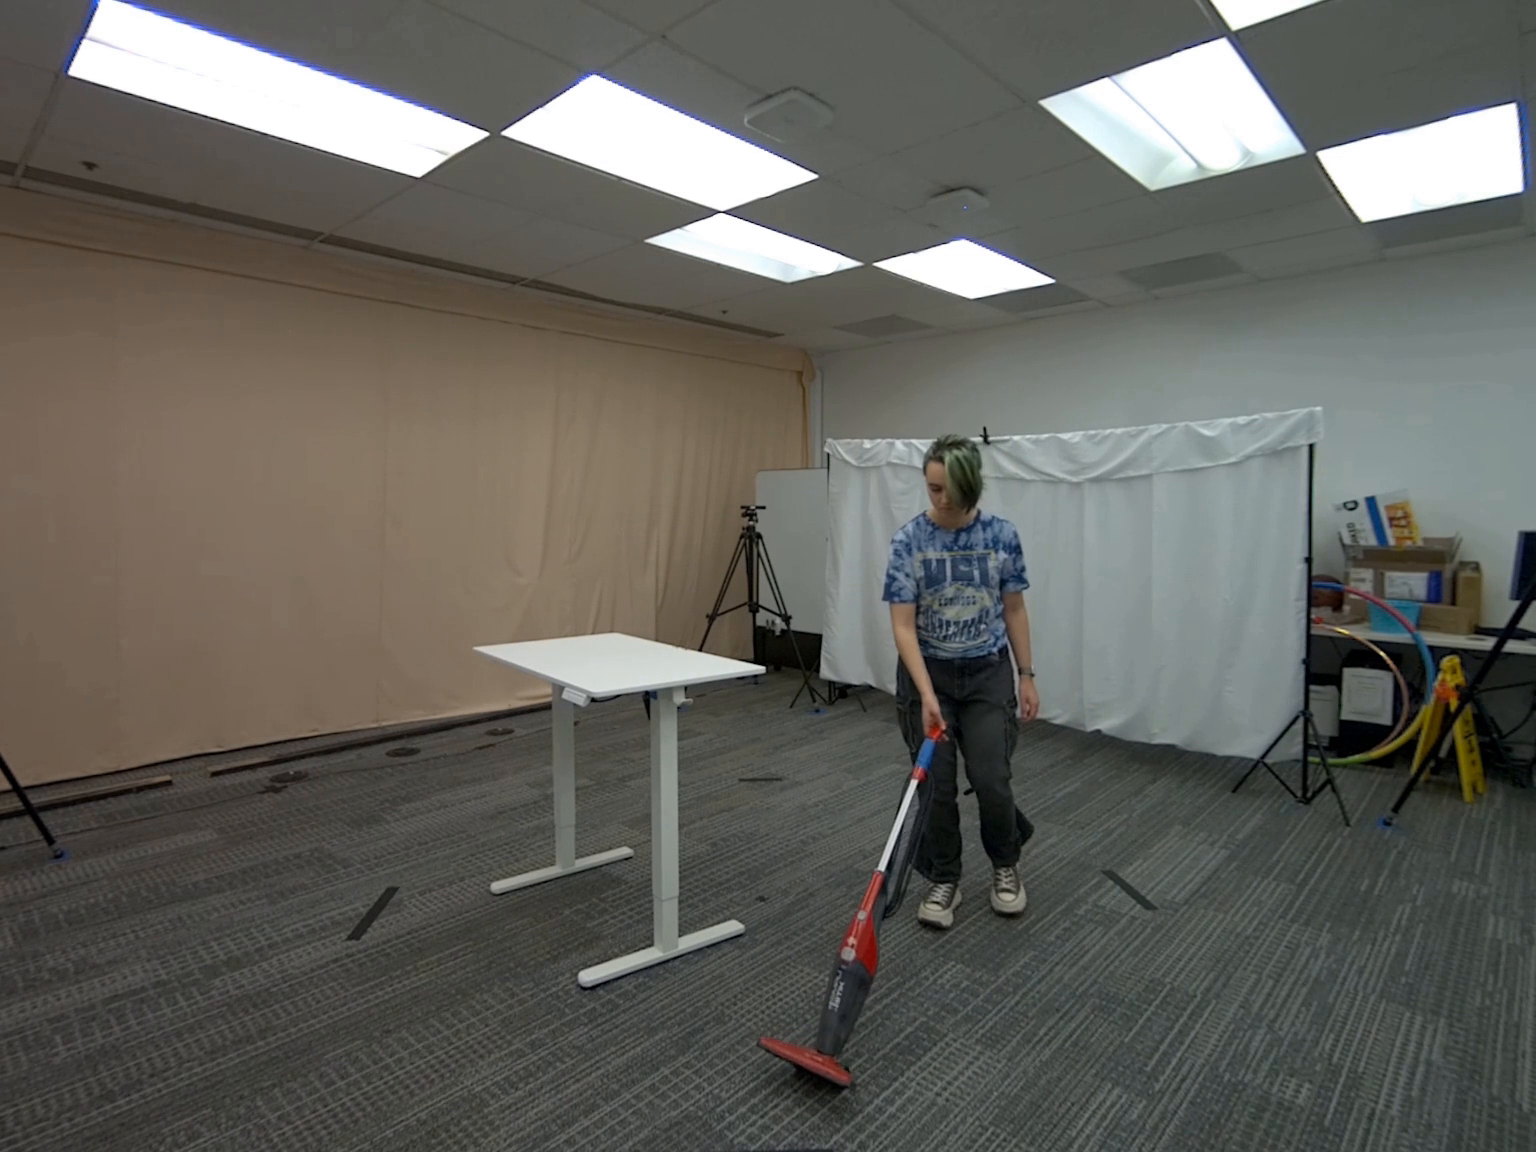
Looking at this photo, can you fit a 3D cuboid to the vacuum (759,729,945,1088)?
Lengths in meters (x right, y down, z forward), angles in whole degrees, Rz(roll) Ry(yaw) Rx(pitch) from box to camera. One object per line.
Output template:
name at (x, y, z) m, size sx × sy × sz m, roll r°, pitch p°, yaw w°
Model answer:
vacuum at (0.342, 0.836, 2.311) m, size 0.261 × 0.140 × 1.046 m, roll 7°, pitch 46°, yaw 33°
